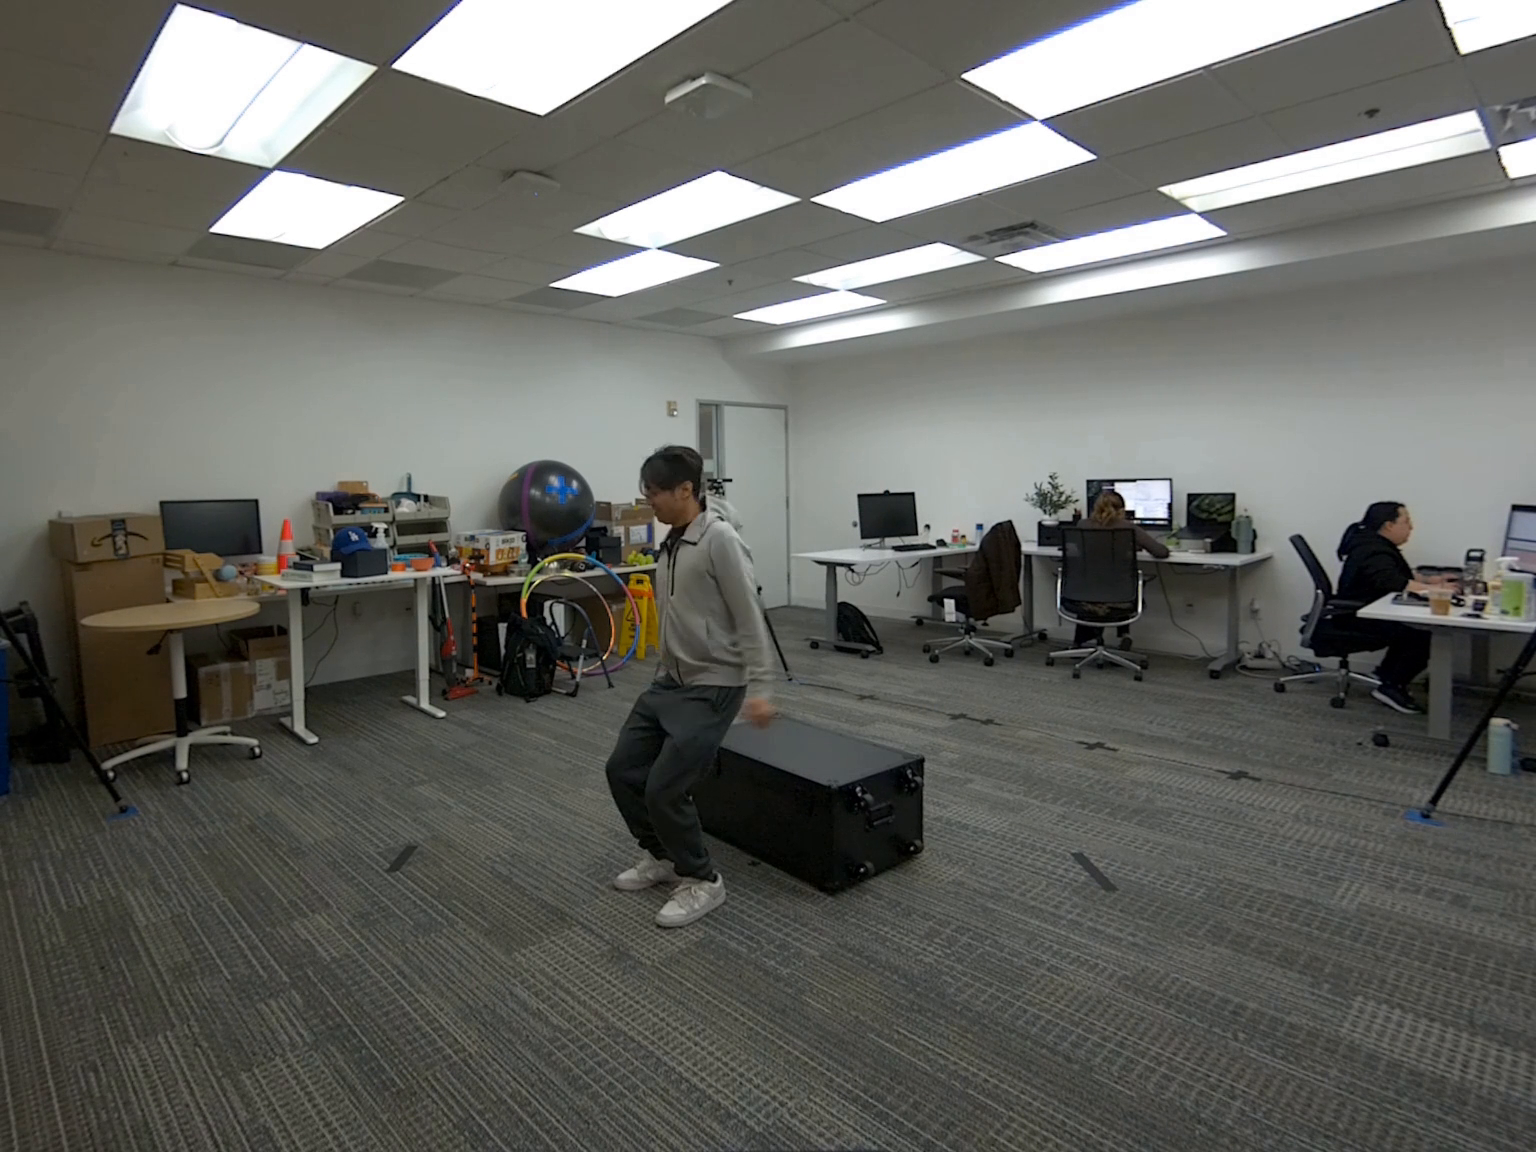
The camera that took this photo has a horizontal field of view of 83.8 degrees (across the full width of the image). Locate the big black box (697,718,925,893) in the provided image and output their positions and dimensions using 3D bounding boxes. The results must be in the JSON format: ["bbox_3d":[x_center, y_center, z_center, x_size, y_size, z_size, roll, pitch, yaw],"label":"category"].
[{"bbox_3d":[0.152,0.834,3.255,0.508,0.394,0.888,-6,7,-41],"label":"big black box"}]
